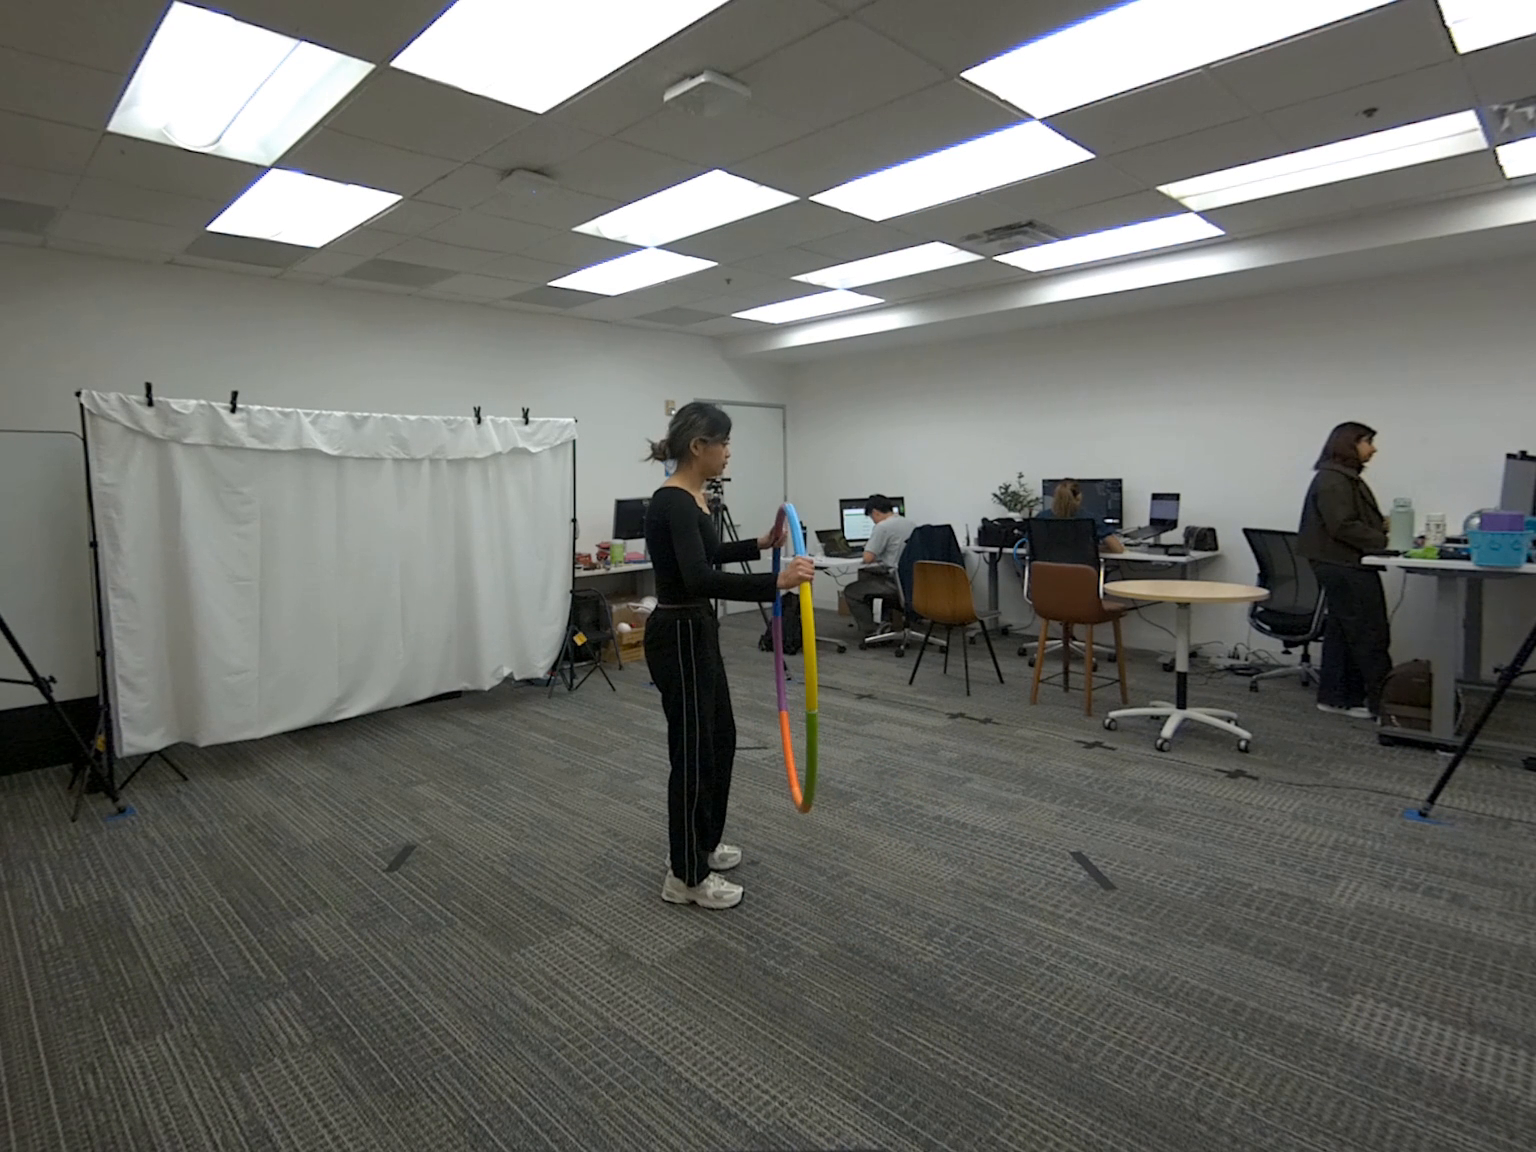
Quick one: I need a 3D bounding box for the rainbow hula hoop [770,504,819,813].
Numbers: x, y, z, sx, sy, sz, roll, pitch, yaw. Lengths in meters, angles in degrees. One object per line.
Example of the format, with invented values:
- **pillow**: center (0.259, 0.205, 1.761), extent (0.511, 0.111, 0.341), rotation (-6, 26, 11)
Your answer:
- **rainbow hula hoop**: center (0.082, 0.265, 2.803), extent (0.035, 0.975, 0.985), rotation (-2, 5, -4)
